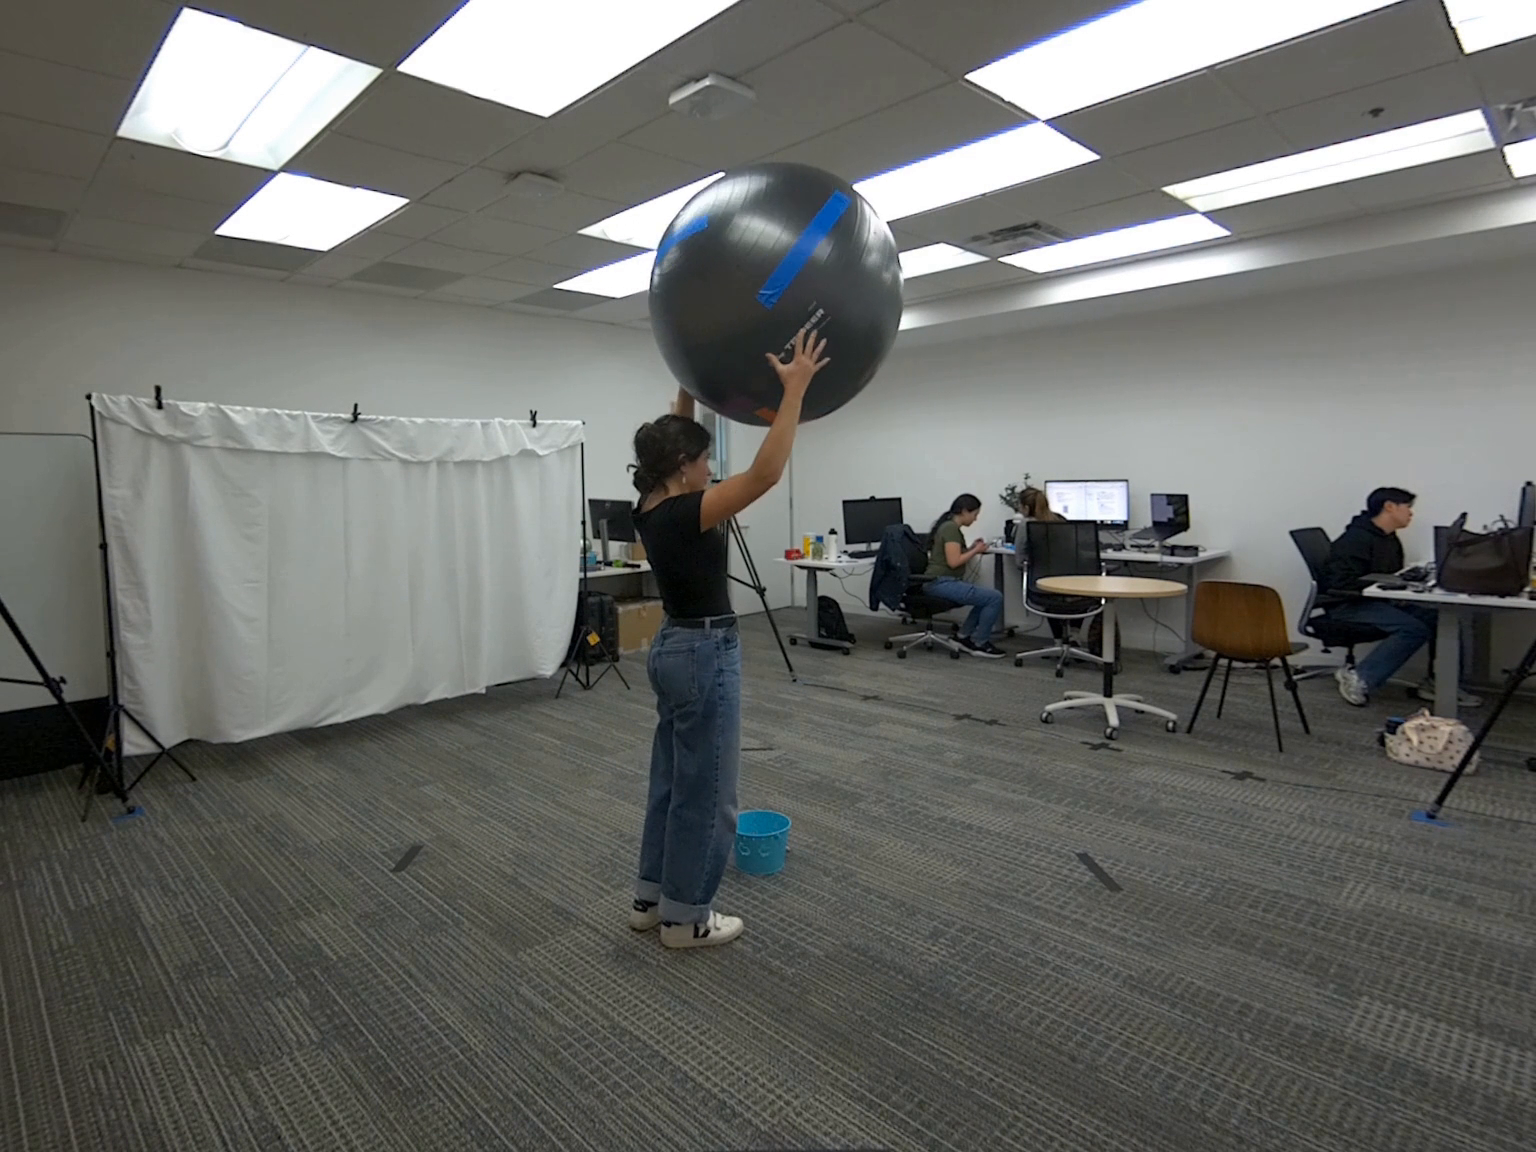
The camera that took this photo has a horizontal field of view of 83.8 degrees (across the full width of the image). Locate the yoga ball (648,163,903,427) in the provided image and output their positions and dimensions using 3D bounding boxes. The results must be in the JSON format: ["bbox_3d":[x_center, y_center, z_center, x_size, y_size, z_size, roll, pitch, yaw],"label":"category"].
[{"bbox_3d":[0.019,-0.829,2.550,0.757,0.755,0.762,-1,5,-2],"label":"yoga ball"}]
